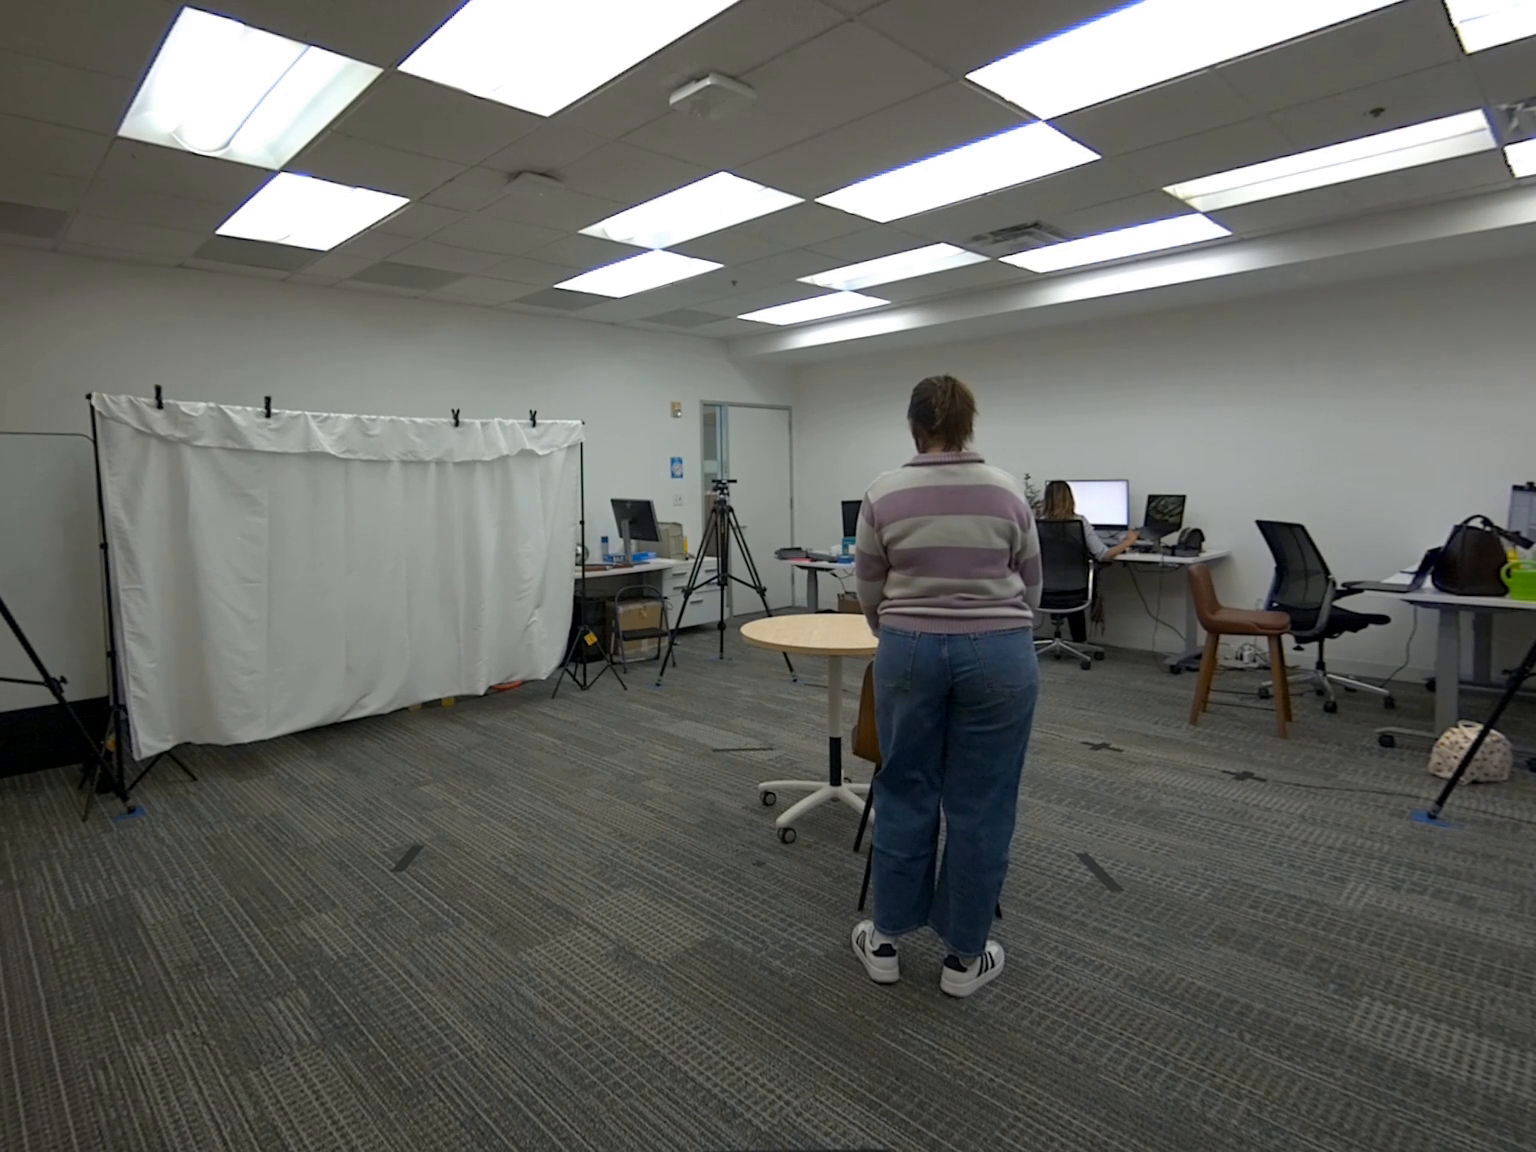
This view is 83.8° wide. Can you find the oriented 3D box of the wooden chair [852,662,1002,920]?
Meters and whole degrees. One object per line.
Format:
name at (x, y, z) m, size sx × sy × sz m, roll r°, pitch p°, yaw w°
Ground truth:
wooden chair at (0.520, 0.626, 2.926) m, size 0.481 × 0.870 × 0.524 m, roll -1°, pitch 9°, yaw 6°
